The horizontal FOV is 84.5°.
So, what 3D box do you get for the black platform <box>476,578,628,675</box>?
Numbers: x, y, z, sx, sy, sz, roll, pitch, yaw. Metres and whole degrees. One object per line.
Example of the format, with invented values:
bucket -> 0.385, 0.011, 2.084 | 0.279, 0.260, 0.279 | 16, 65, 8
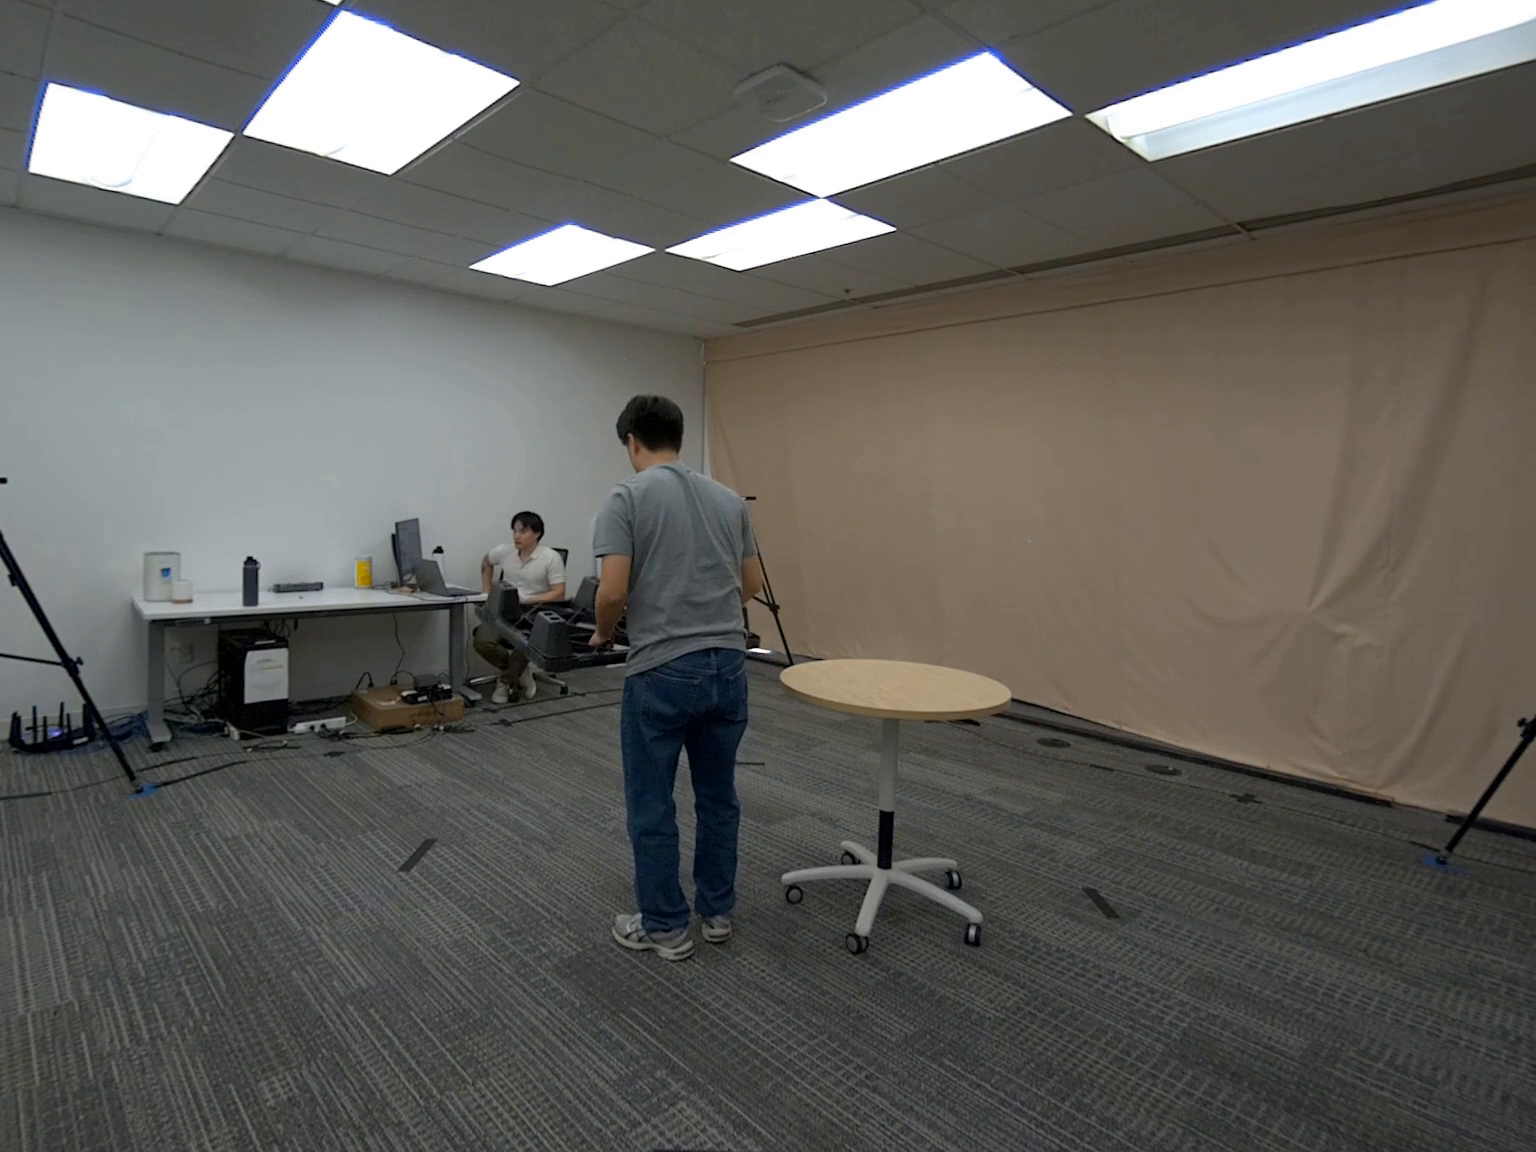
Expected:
black platform -> -0.521, 0.148, 2.876 | 0.788, 0.142, 0.623 | -3, 16, -38
